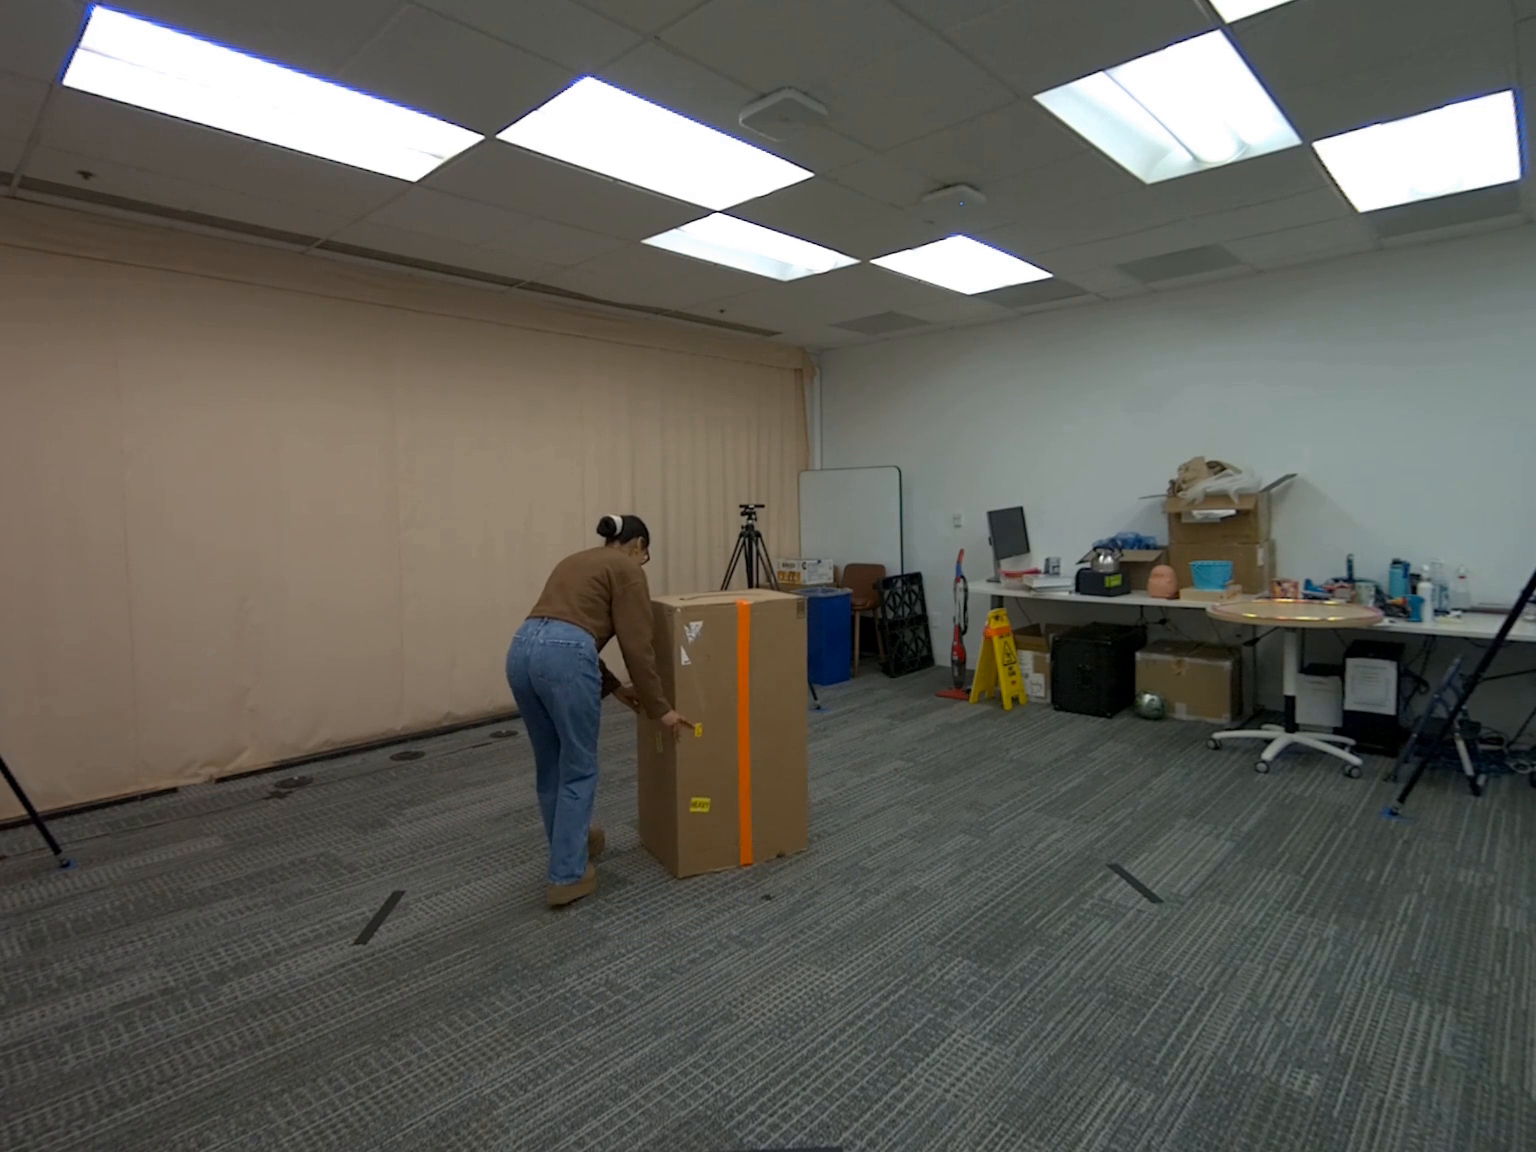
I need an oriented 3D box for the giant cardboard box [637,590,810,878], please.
[{"bbox_3d":[-0.190,0.596,3.425,0.563,1.024,0.438,-1,3,-28],"label":"giant cardboard box"}]
